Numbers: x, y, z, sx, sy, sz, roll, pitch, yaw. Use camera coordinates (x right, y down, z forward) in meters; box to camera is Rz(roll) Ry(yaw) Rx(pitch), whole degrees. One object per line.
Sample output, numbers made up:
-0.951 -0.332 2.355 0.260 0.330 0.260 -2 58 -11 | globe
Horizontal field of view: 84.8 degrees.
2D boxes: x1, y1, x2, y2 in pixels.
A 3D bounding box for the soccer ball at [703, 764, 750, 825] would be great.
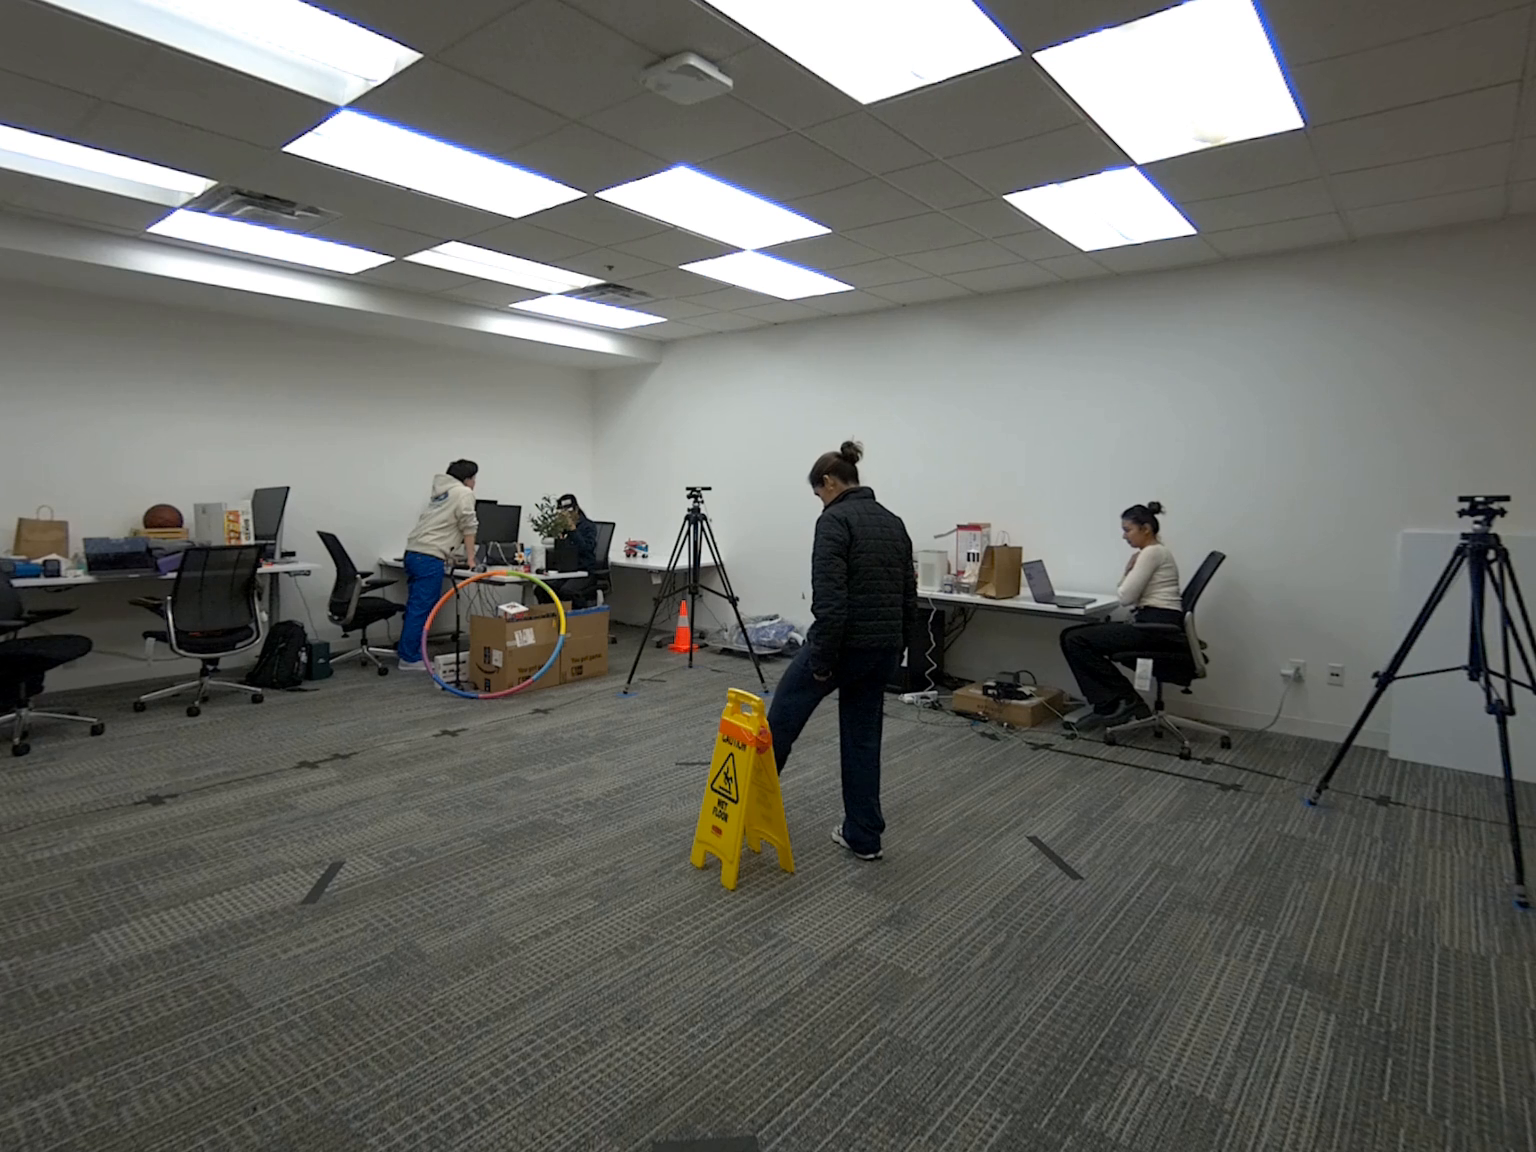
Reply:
-0.179 0.921 3.567 0.187 0.187 0.188 1 4 -2 | soccer ball
